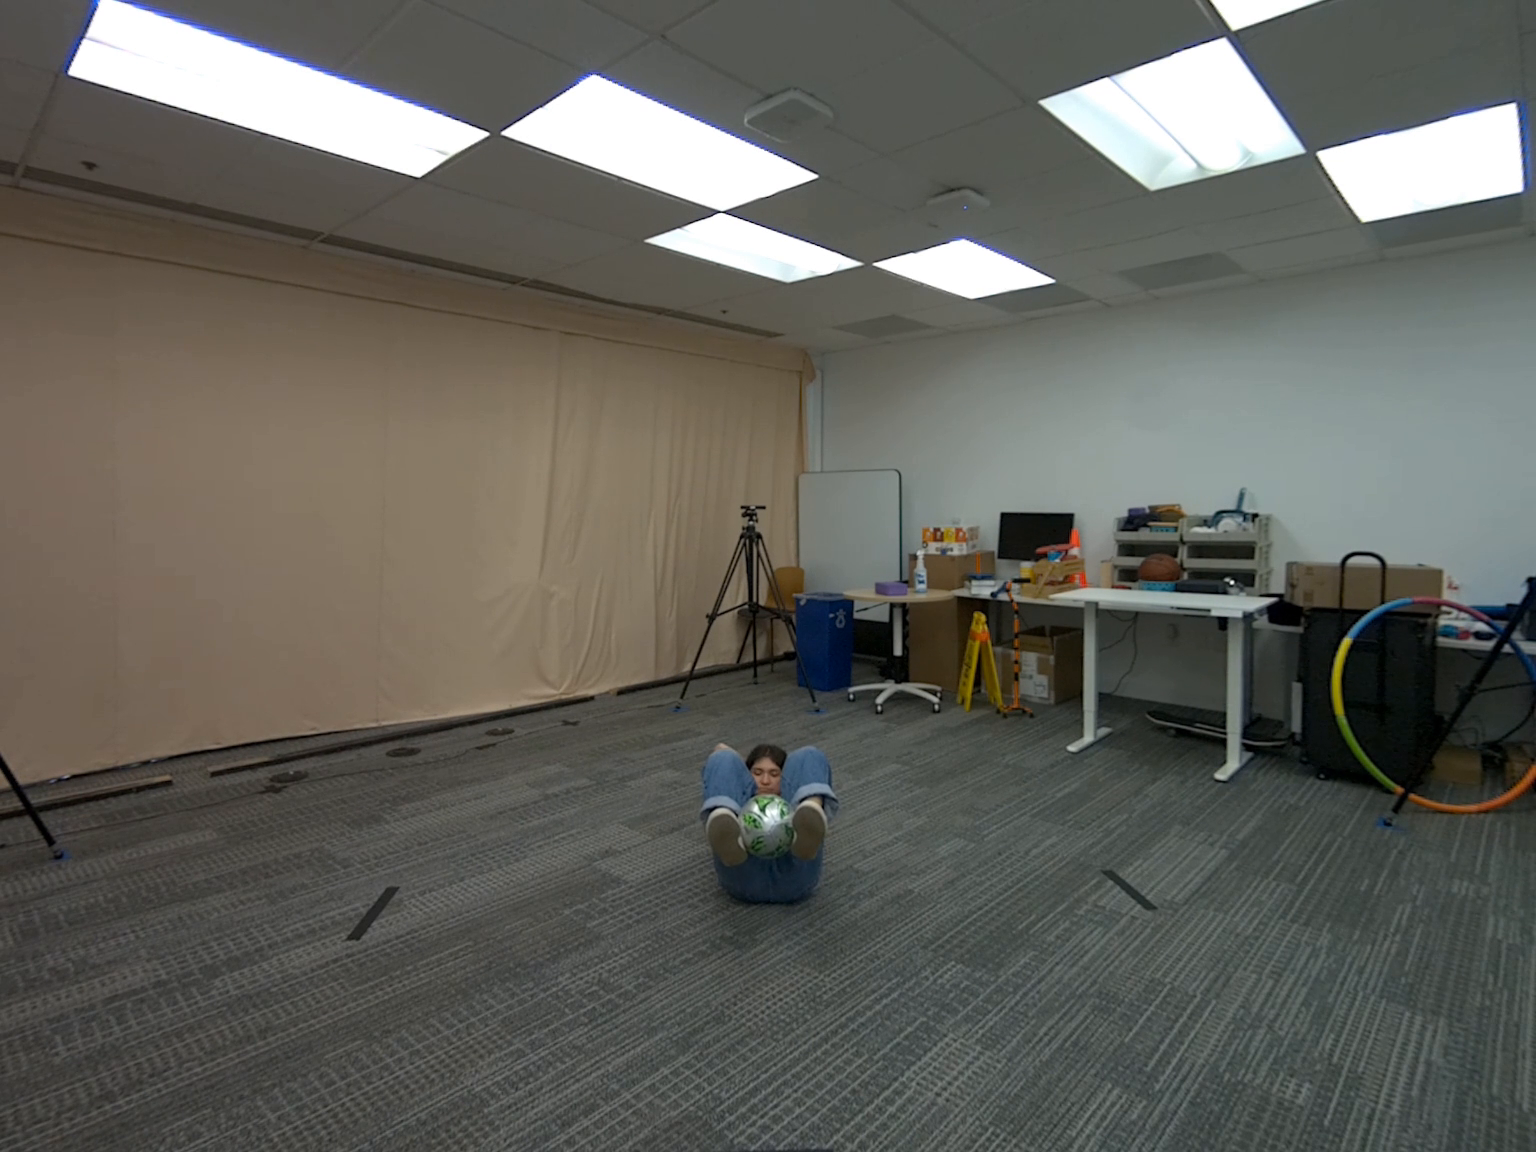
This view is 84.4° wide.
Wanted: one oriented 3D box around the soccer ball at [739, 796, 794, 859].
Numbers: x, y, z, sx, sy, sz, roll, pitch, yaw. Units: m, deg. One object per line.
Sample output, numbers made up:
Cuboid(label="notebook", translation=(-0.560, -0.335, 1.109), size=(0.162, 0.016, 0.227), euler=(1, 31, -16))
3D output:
Cuboid(label="soccer ball", translation=(0.014, 0.767, 2.563), size=(0.187, 0.187, 0.188), euler=(3, 4, -2))
